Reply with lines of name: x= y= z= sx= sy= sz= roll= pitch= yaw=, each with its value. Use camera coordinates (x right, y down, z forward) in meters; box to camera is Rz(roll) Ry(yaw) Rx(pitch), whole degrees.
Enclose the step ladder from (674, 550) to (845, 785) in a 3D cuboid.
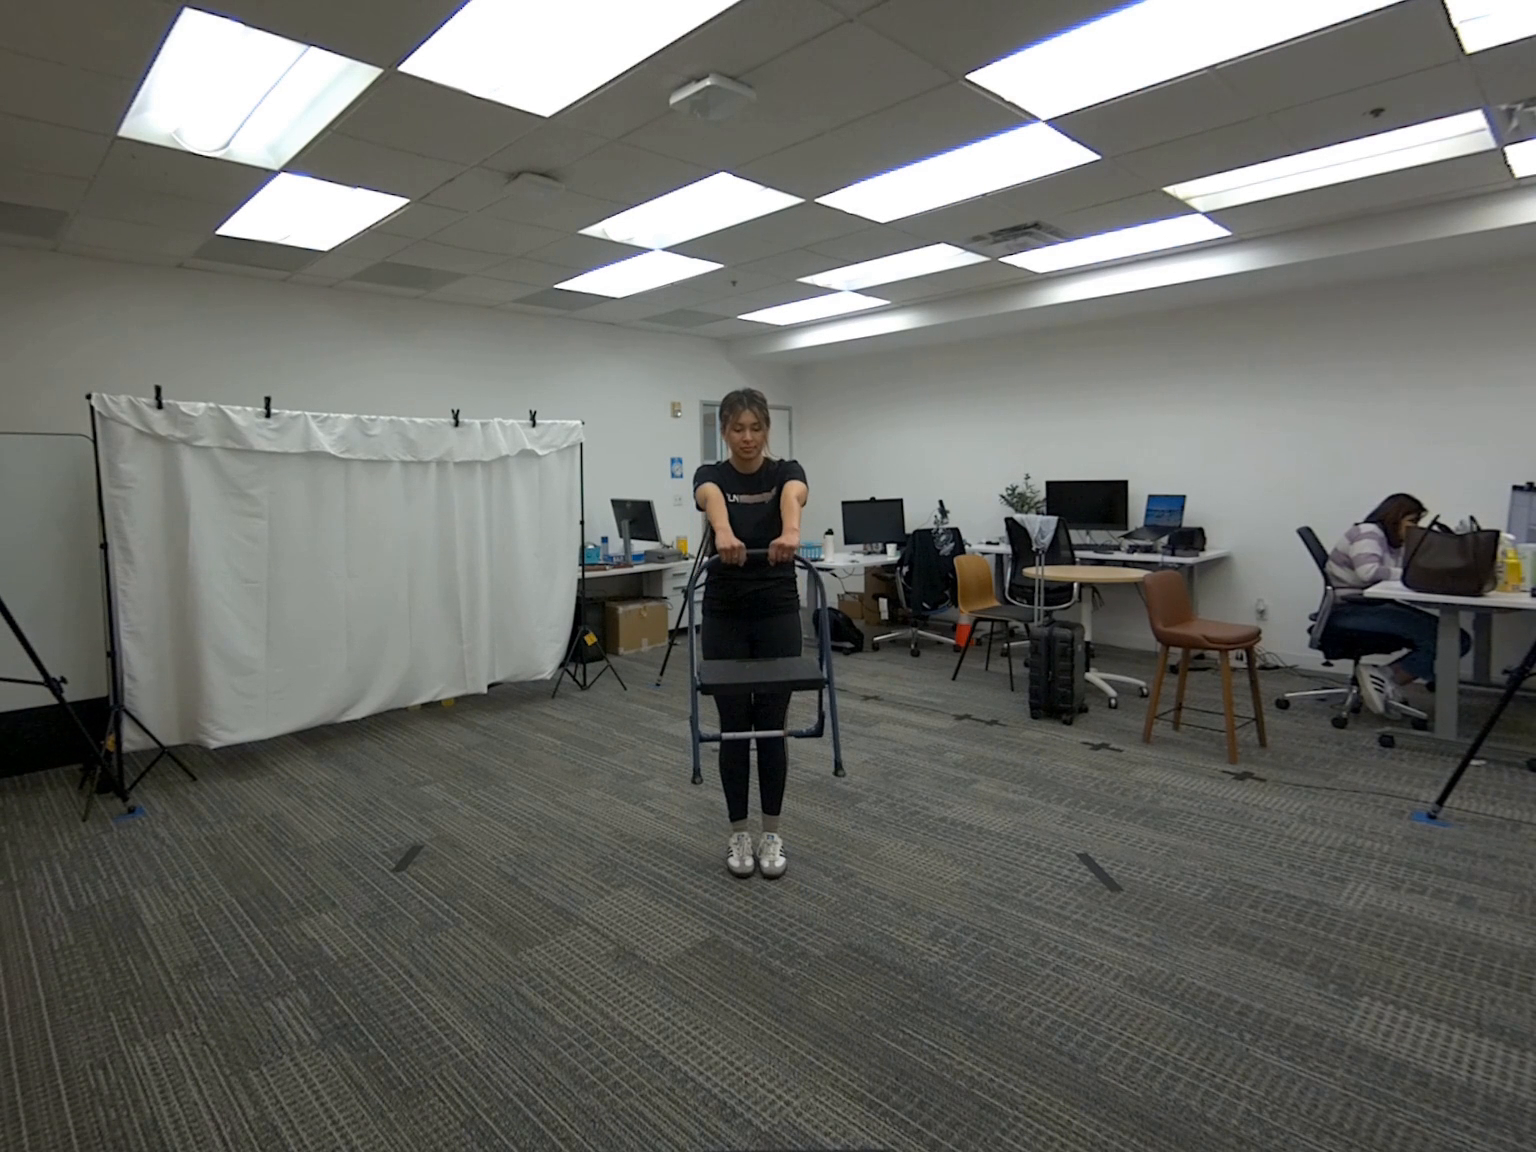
step ladder: x=-0.022 y=0.240 z=2.489 sx=0.429 sy=0.603 sz=0.353 roll=-2 pitch=6 yaw=-5
